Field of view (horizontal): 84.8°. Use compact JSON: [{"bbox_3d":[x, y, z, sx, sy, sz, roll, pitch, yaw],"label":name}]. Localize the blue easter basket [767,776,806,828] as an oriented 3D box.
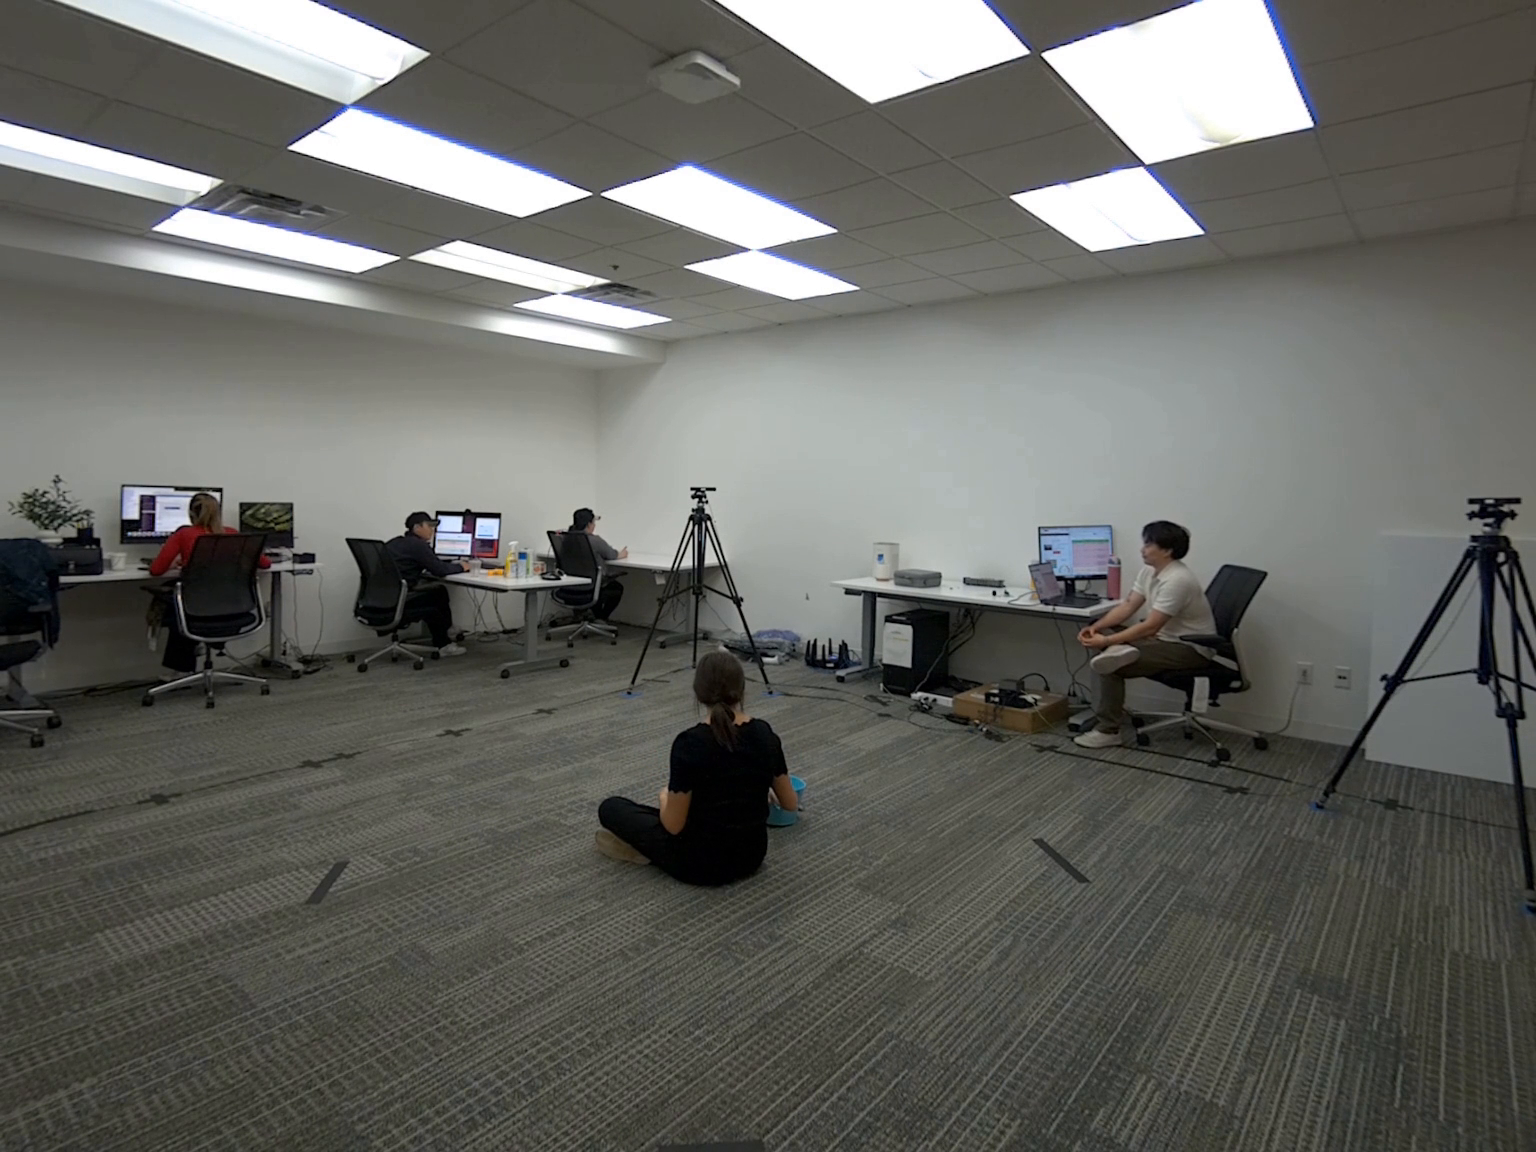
[{"bbox_3d":[0.034,0.937,3.580,0.243,0.155,0.245,5,4,-2],"label":"blue easter basket"}]
